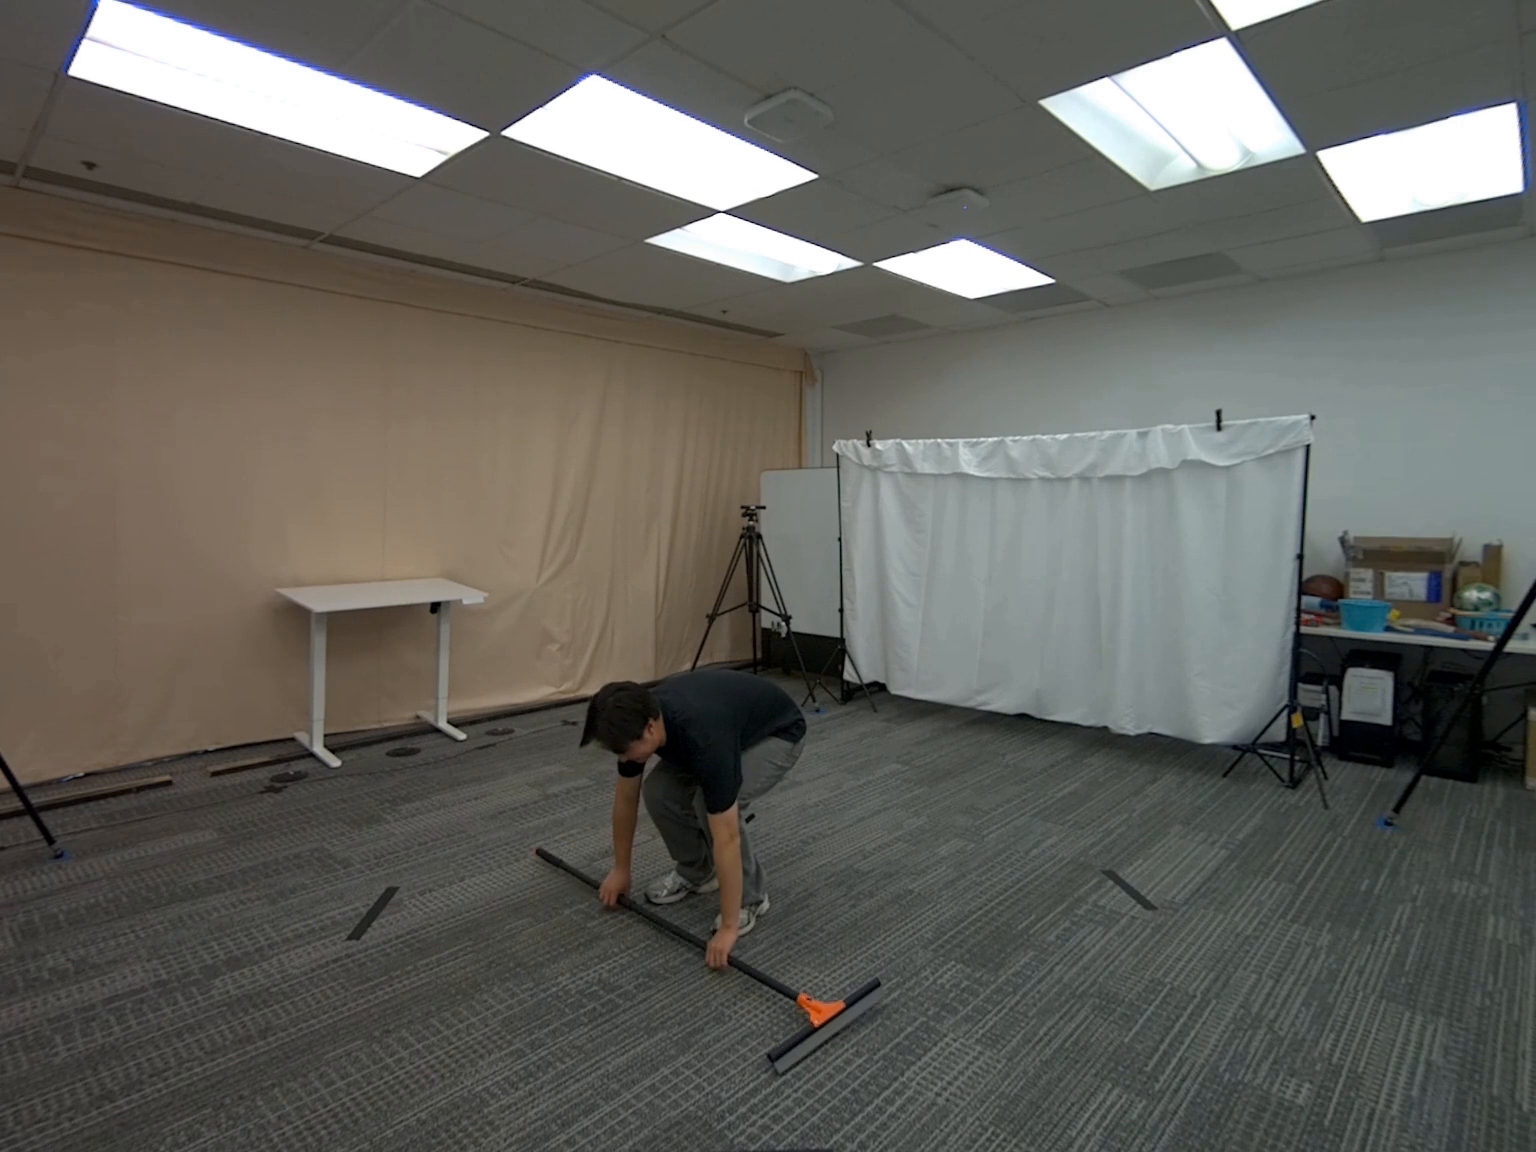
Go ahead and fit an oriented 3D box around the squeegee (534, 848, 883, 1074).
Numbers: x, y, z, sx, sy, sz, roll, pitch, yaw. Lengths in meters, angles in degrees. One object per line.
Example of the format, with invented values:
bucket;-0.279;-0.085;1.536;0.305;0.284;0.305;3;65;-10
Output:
squeegee;-0.363;1.110;2.757;0.425;0.053;1.589;-9;9;-43
